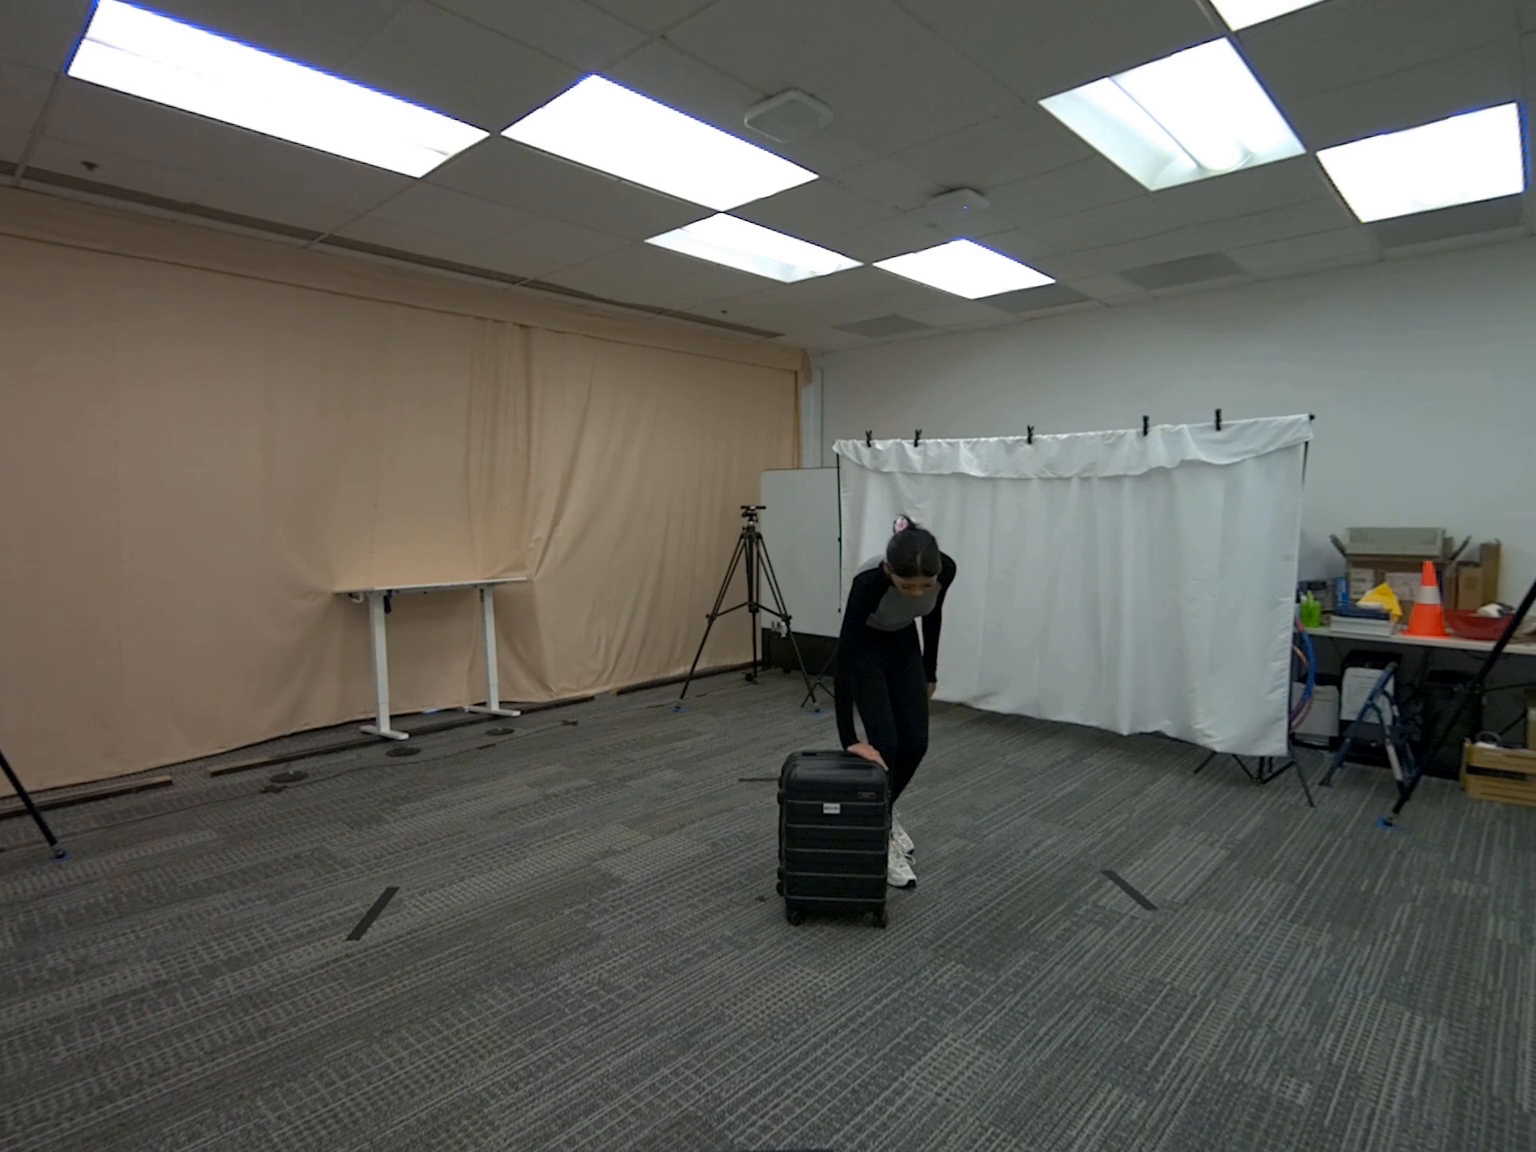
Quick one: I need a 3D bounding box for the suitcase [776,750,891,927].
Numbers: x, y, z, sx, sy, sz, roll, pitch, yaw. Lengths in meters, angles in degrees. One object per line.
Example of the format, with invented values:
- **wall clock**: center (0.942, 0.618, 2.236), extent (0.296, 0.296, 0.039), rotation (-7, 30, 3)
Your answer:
- **suitcase**: center (0.230, 0.878, 2.867), extent (0.377, 0.548, 0.248), rotation (1, 5, 4)
